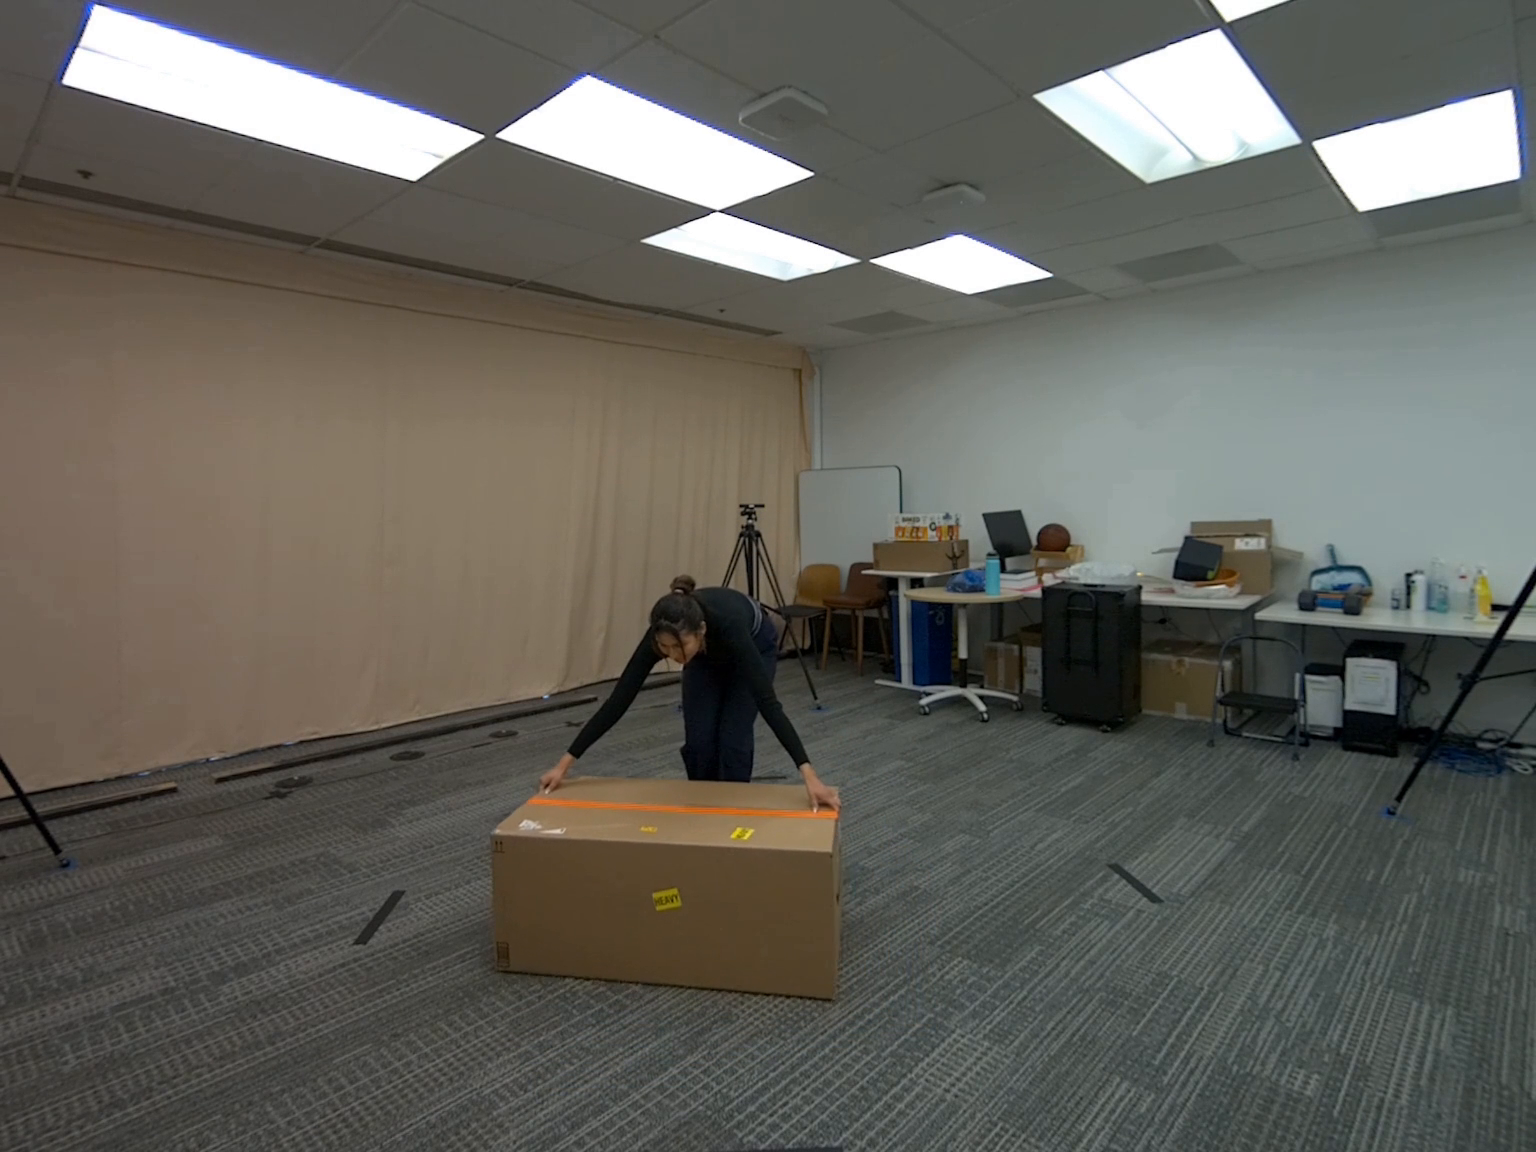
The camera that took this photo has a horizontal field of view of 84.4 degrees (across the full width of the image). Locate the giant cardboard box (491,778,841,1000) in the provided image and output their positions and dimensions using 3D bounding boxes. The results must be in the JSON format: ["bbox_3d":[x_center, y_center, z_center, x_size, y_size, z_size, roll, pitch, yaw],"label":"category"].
[{"bbox_3d":[-0.286,0.951,2.713,1.037,0.425,0.572,0,4,10],"label":"giant cardboard box"}]
